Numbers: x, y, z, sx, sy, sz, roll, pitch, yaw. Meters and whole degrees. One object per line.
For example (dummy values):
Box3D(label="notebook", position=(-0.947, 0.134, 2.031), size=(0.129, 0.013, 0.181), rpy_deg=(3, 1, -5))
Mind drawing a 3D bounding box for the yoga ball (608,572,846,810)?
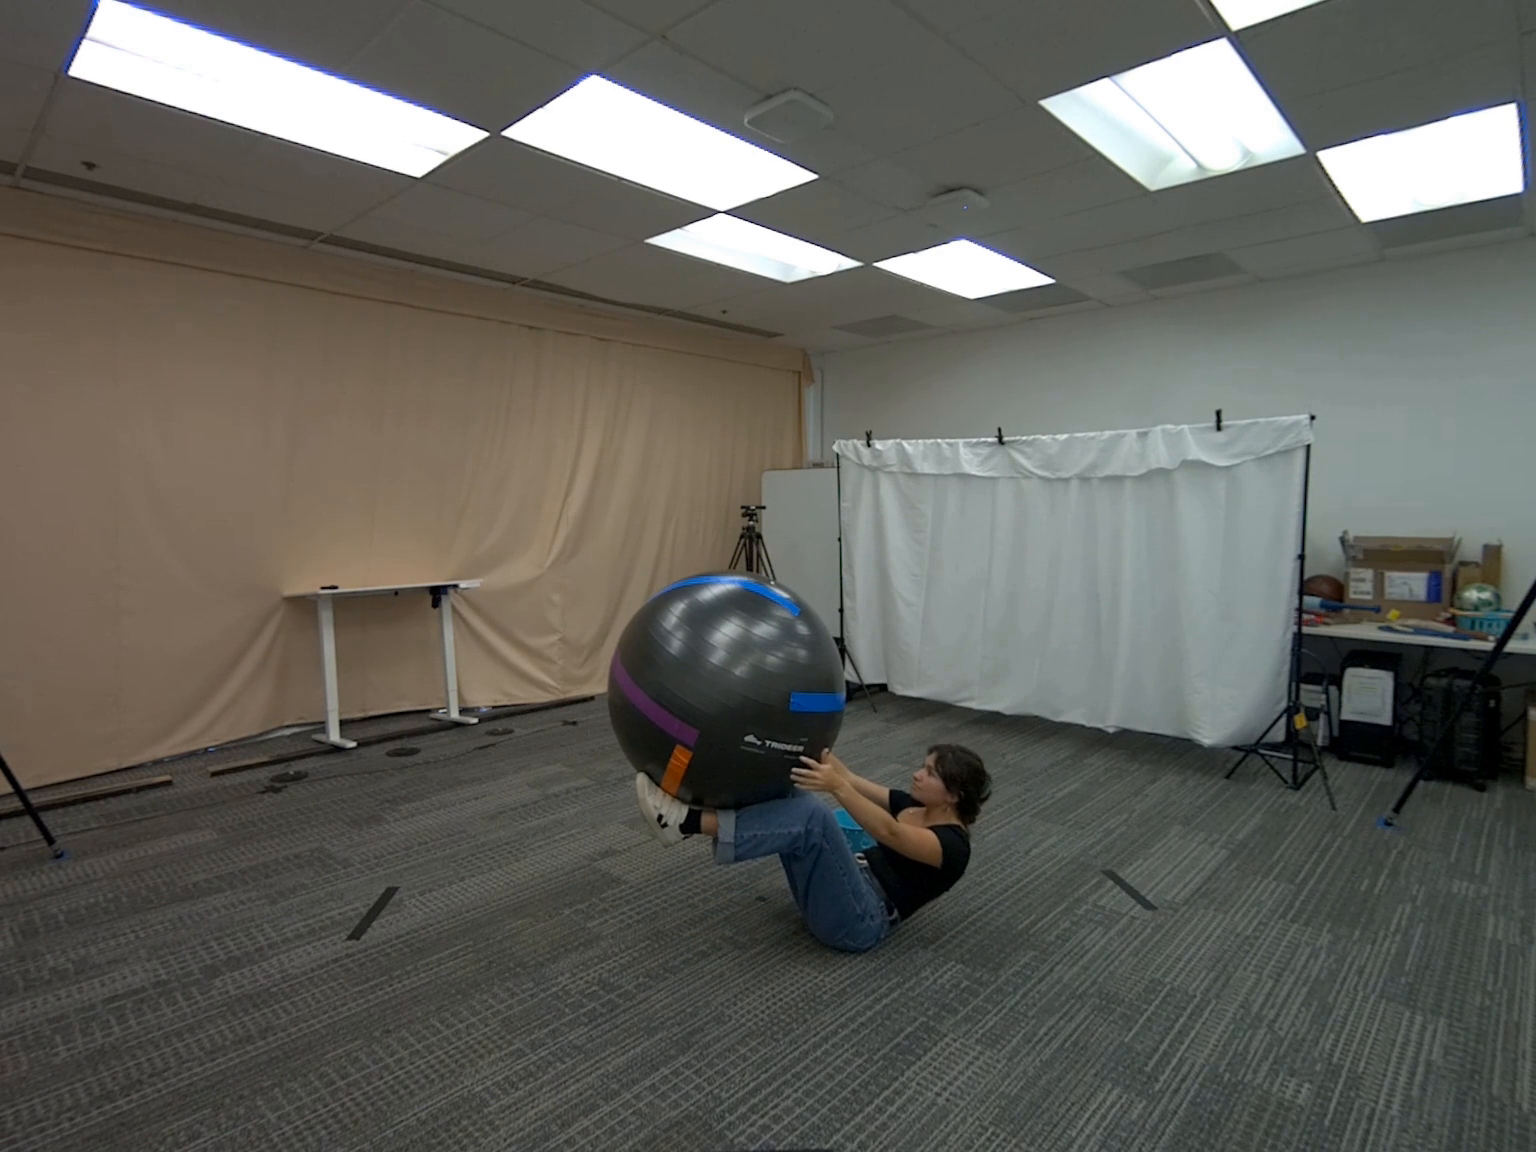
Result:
Box3D(label="yoga ball", position=(-0.131, 0.366, 2.685), size=(0.757, 0.756, 0.761), rpy_deg=(0, 4, -2))
